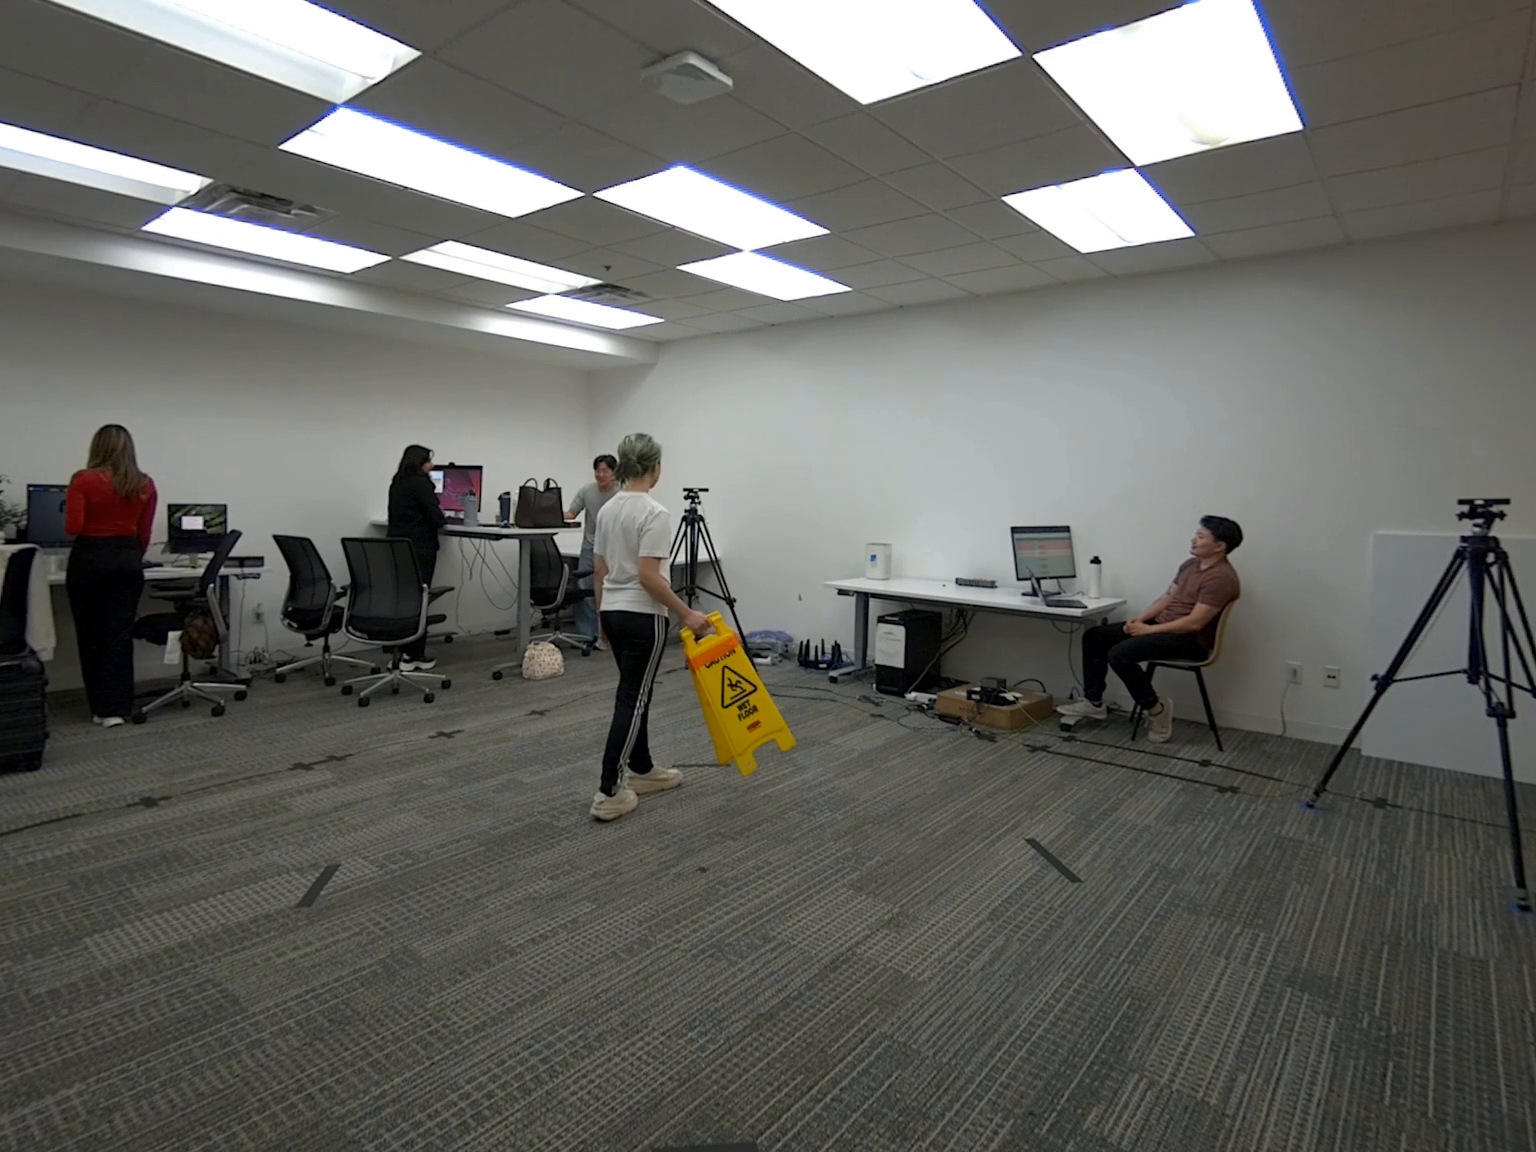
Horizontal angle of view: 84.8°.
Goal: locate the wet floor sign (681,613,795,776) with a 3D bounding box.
[{"bbox_3d":[-0.175,0.487,3.676,0.279,0.640,0.296,-25,9,-22],"label":"wet floor sign"}]
